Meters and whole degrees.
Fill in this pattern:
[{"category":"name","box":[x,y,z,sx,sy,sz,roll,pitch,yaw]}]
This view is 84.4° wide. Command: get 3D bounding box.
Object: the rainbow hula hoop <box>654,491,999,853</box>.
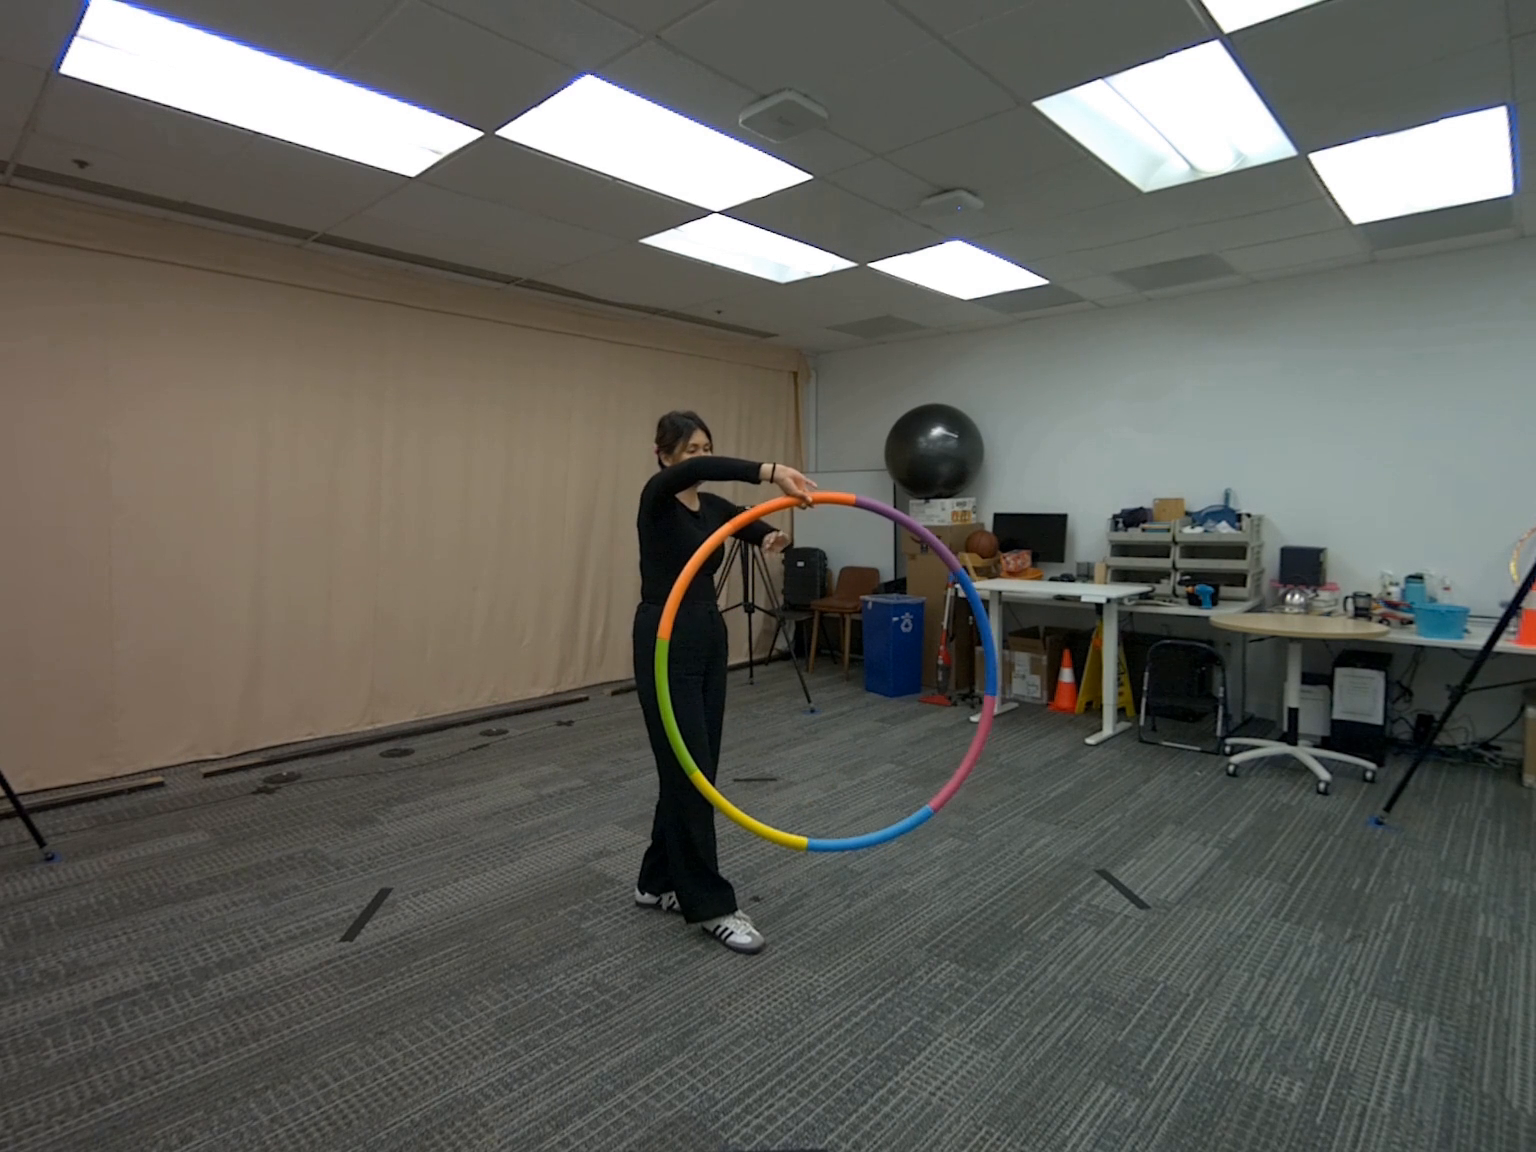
[{"category":"rainbow hula hoop","box":[0.177,0.257,2.352,0.978,0.988,0.052,-1,-5,-6]}]
